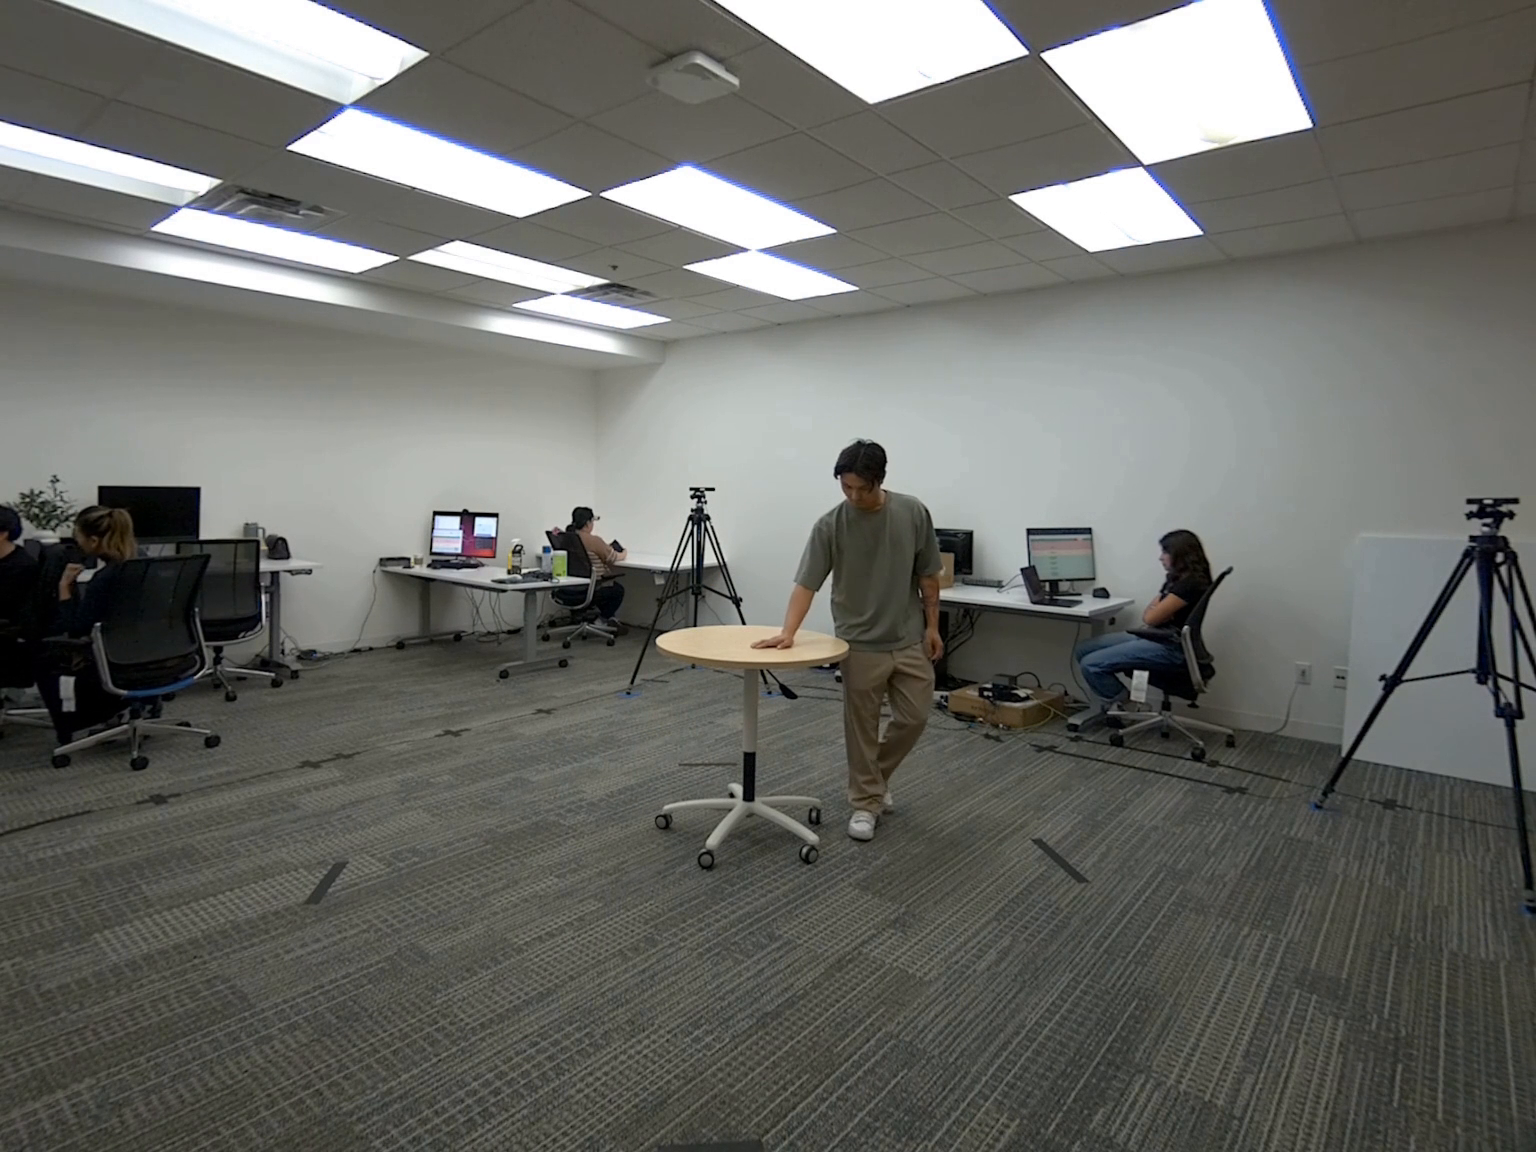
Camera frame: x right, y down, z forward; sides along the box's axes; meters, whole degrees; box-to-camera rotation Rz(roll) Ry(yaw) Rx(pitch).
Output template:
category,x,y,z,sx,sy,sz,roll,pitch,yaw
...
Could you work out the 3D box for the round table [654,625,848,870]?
category,x,y,z,sx,sy,sz,roll,pitch,yaw
round table,-0.083,0.652,3.410,0.763,0.791,0.768,1,4,-2
